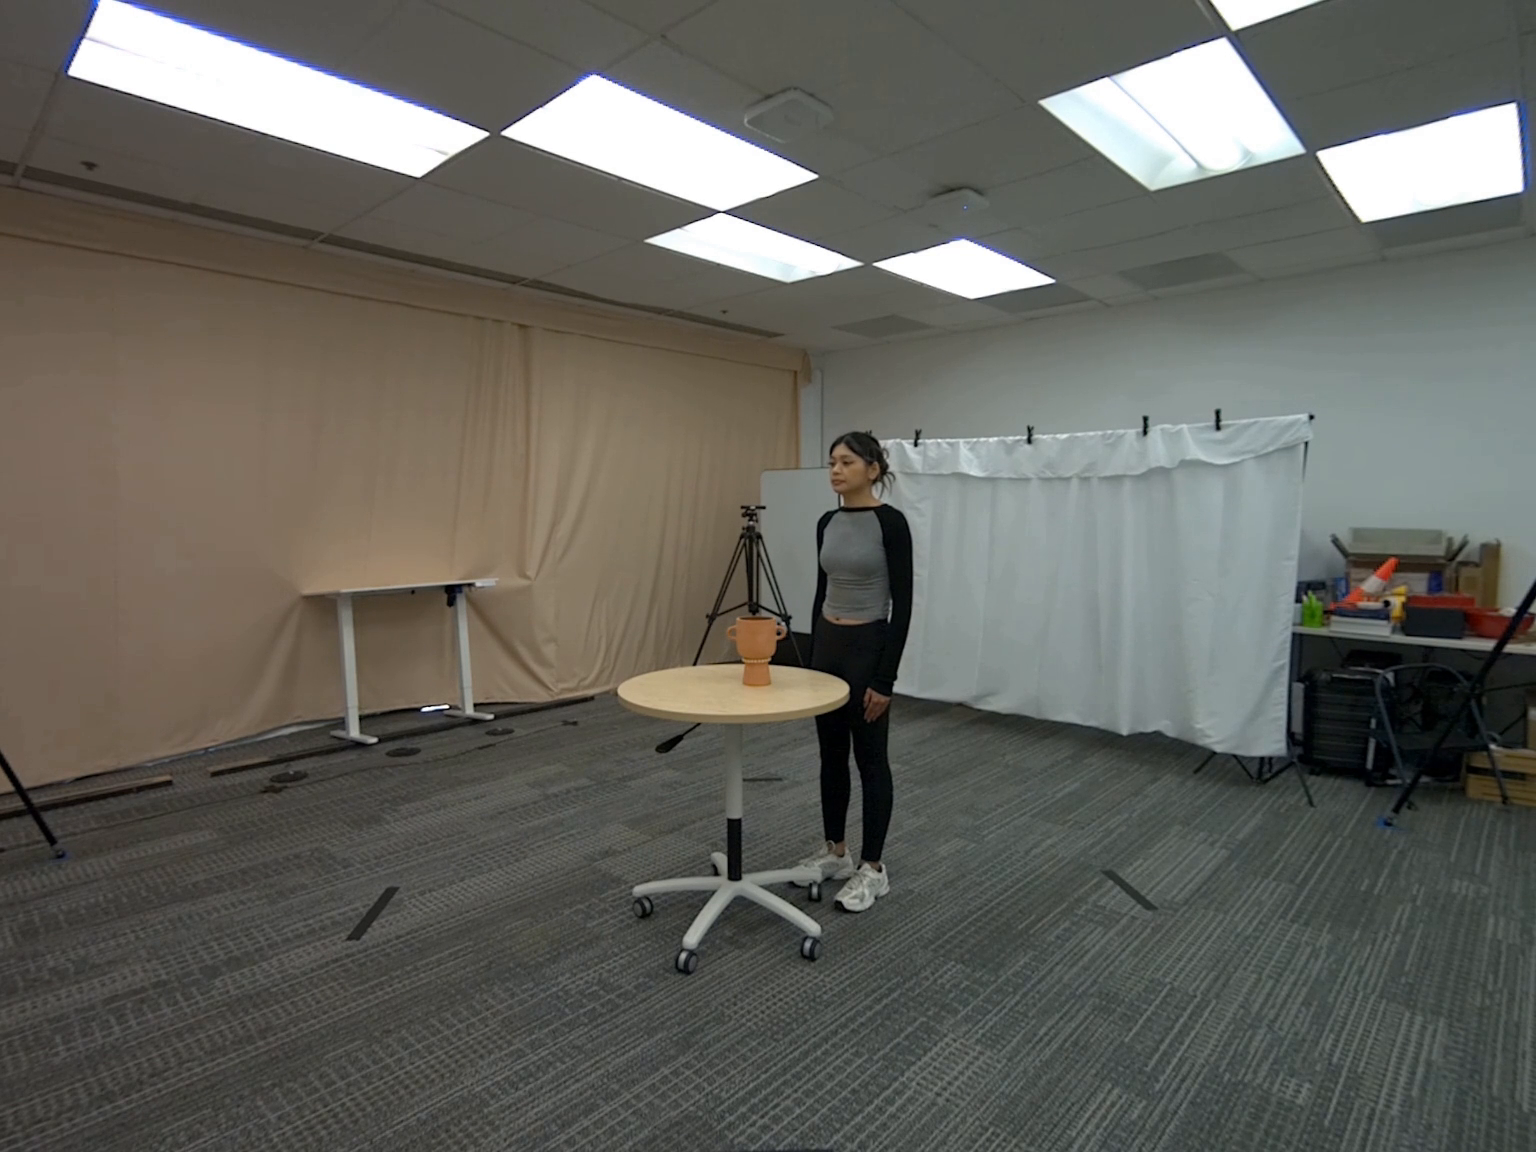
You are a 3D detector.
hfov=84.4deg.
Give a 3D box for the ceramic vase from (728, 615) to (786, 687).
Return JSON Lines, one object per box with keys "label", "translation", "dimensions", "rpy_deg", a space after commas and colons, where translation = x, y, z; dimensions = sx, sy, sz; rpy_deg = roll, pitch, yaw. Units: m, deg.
{"label": "ceramic vase", "translation": [-0.034, 0.259, 2.832], "dimensions": [0.164, 0.219, 0.130], "rpy_deg": [2, 4, 39]}
